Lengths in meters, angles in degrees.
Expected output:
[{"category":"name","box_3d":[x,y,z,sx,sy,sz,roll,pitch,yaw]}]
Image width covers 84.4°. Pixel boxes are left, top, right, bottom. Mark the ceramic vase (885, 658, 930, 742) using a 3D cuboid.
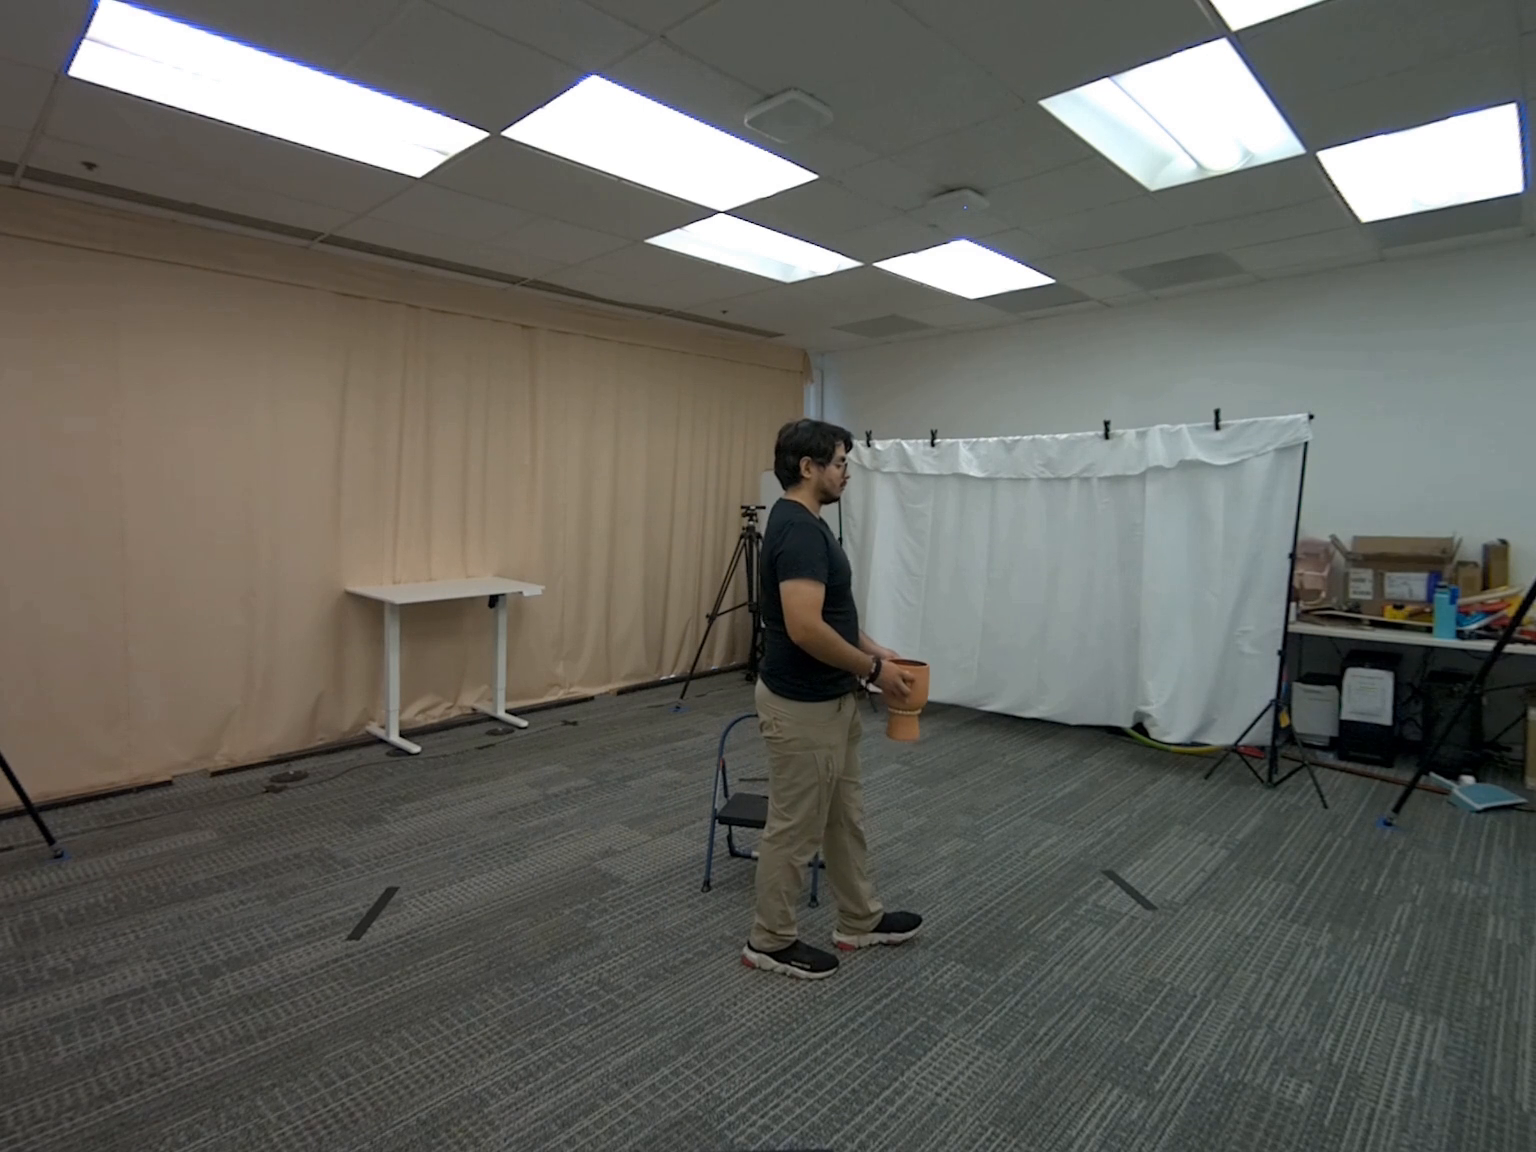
[{"category":"ceramic vase","box_3d":[0.406,0.365,2.460,0.139,0.219,0.154,4,3,43]}]
